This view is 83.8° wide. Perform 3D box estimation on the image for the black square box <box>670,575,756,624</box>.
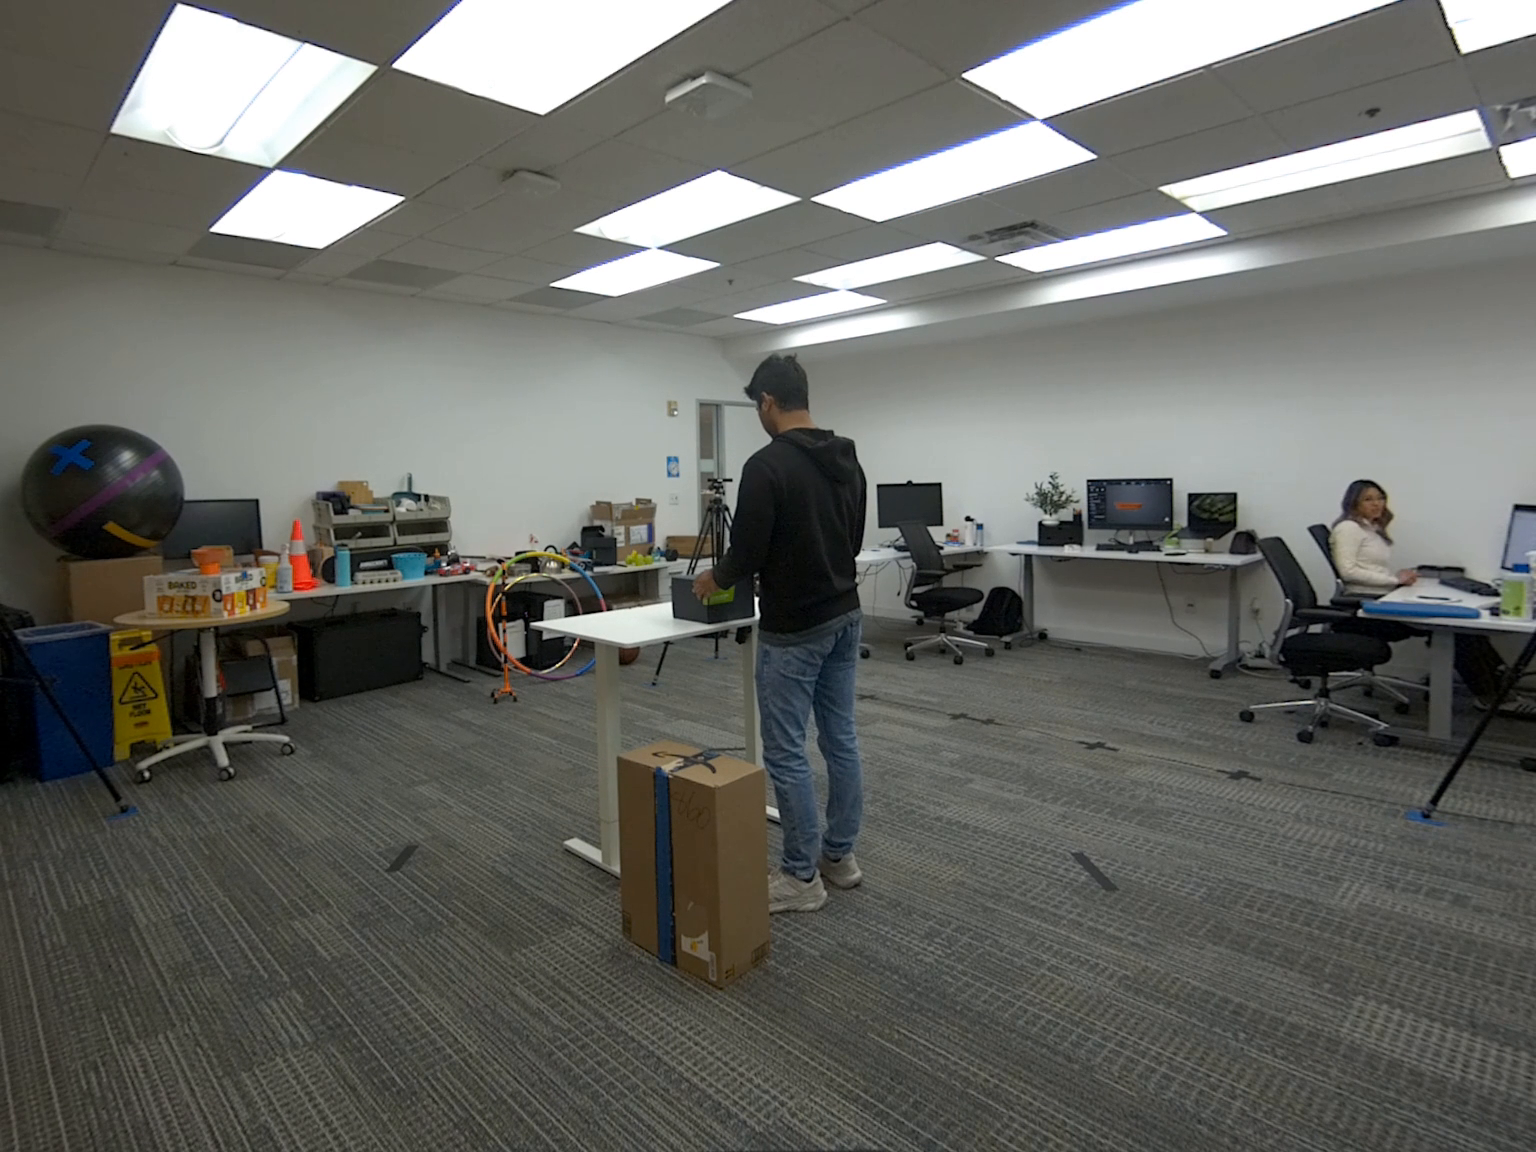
[{"bbox_3d":[-0.204,0.071,3.181,0.222,0.155,0.224,-6,8,-41],"label":"black square box"}]
